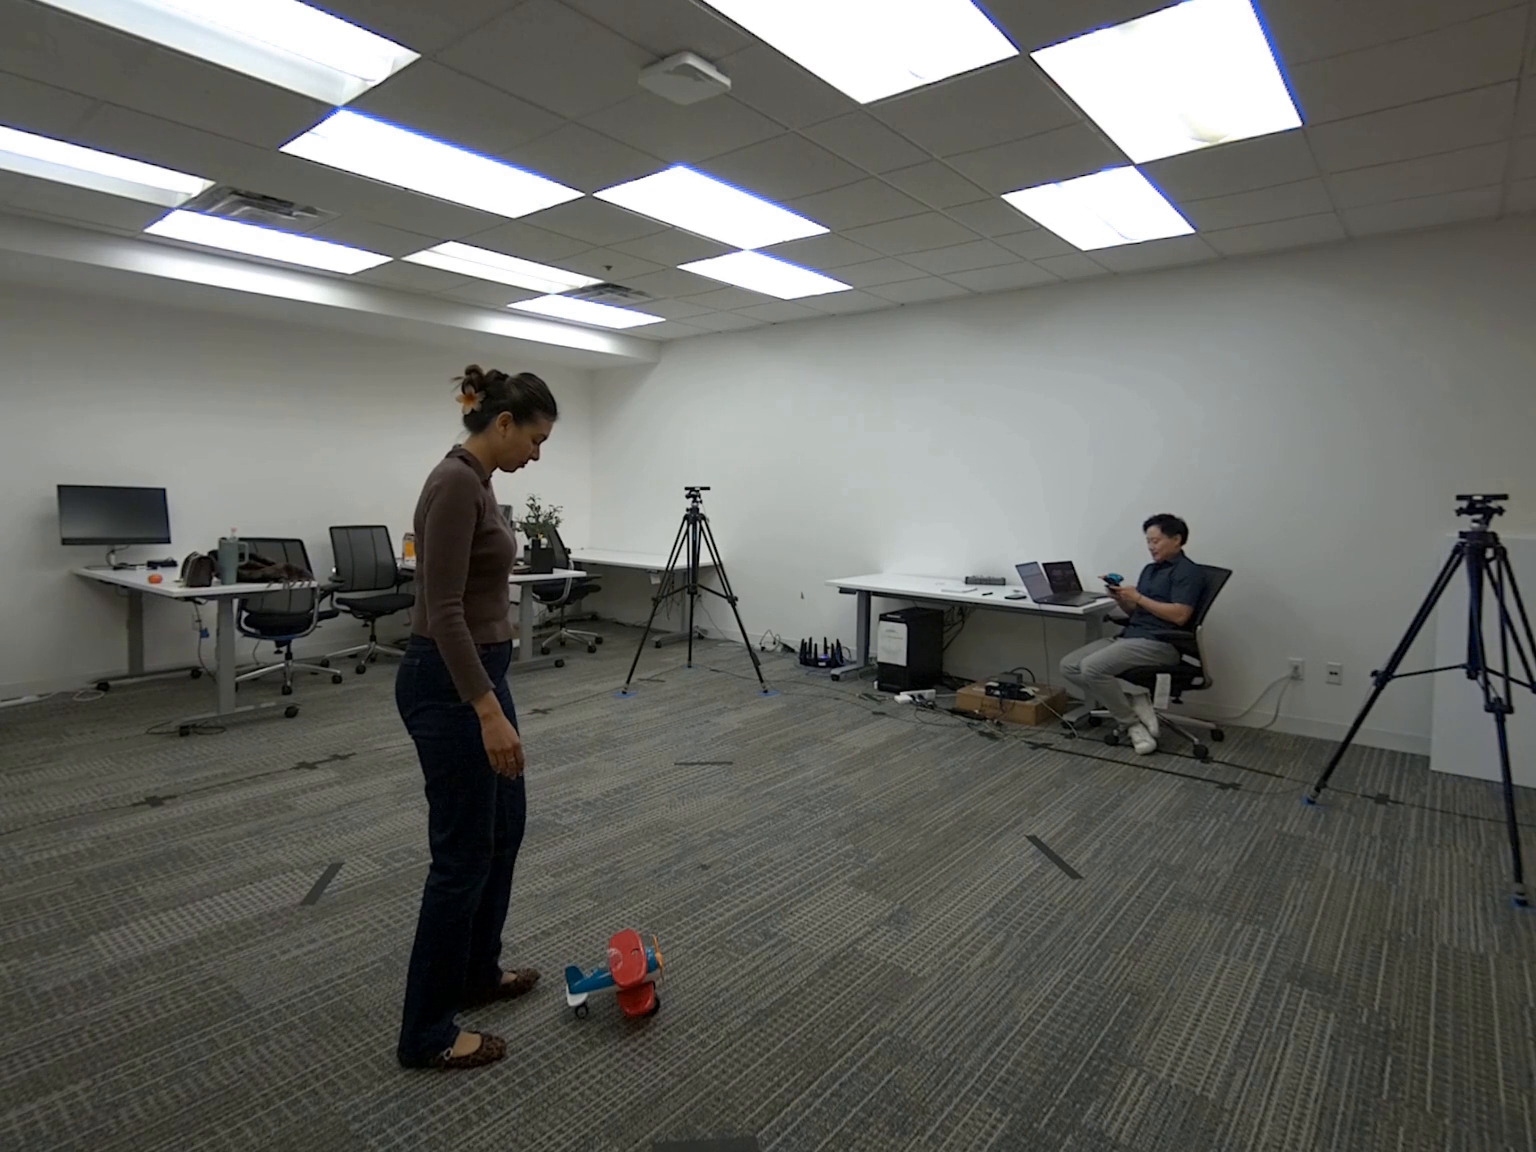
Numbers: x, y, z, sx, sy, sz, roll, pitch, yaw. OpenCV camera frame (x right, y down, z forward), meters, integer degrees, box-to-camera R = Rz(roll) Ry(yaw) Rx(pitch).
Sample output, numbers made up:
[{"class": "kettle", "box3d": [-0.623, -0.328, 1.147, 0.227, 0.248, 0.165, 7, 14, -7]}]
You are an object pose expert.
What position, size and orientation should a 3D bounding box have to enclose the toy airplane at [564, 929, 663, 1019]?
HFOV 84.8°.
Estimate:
[{"class": "toy airplane", "box3d": [-0.408, 1.080, 2.242, 0.251, 0.156, 0.260, -4, 7, -43]}]
